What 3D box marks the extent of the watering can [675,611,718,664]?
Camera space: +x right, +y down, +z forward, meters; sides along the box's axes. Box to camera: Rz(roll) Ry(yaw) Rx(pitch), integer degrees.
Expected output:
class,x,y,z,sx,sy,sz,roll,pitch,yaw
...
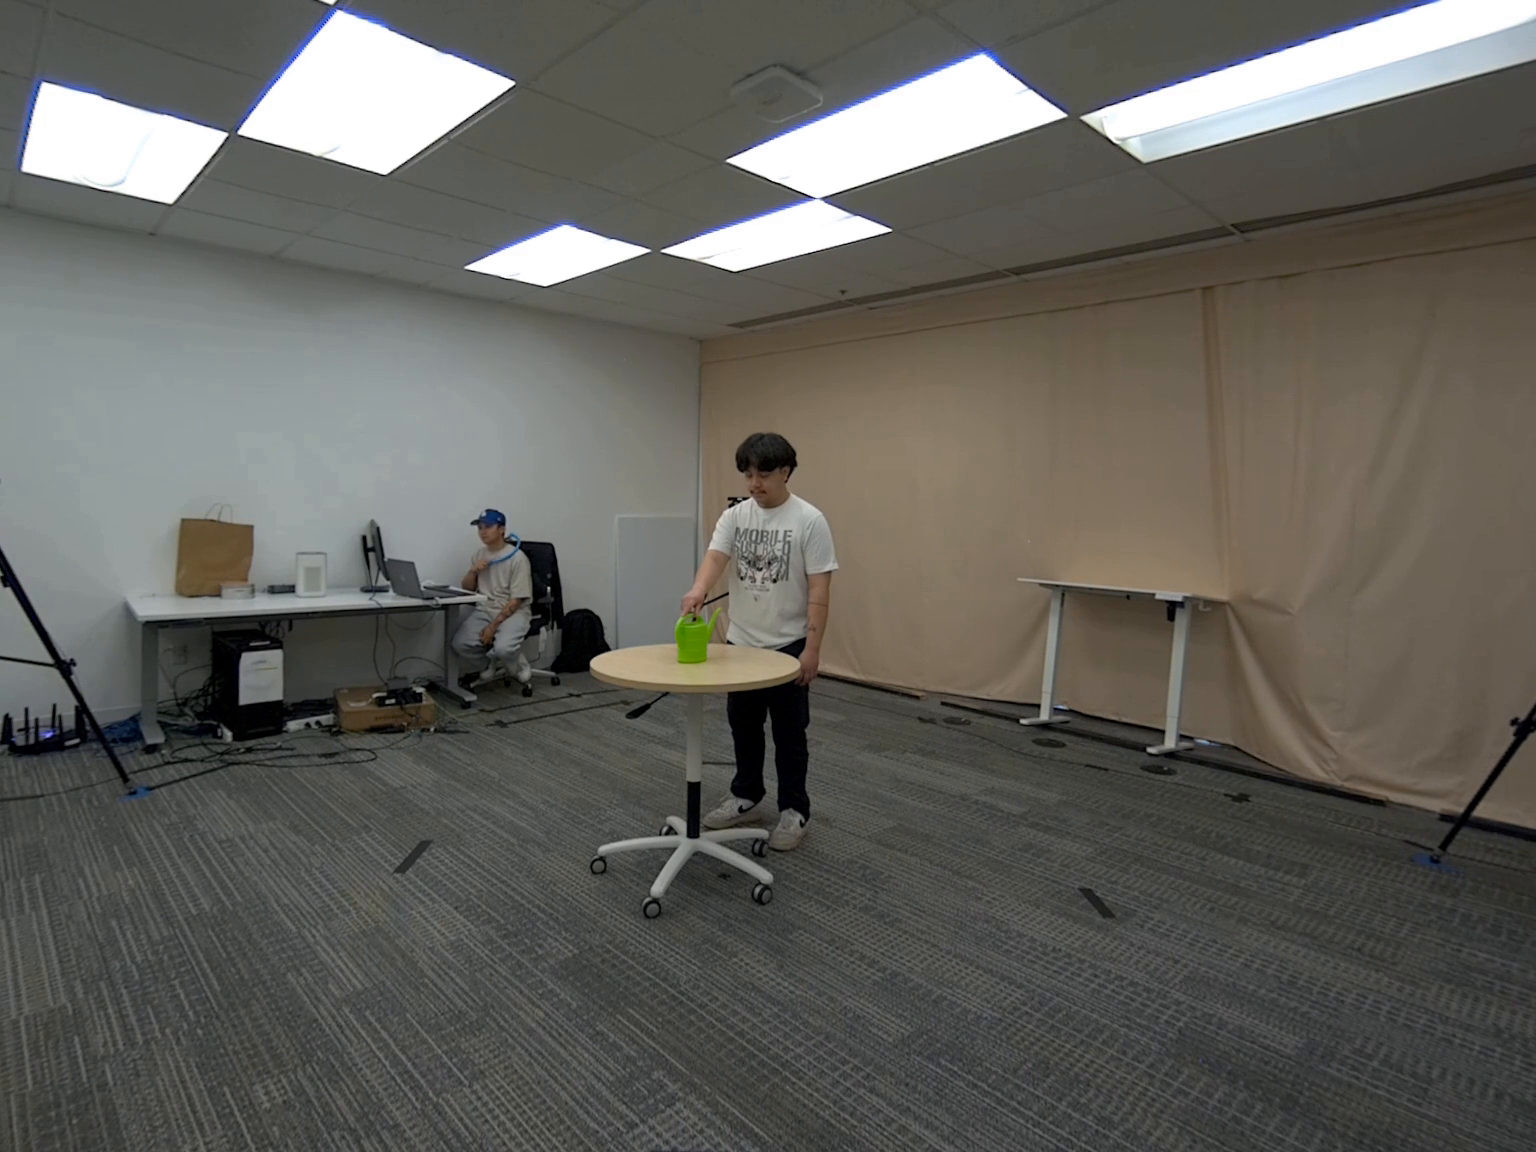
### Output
class,x,y,z,sx,sy,sz,roll,pitch,yaw
watering can,-0.264,0.222,3.118,0.100,0.176,0.272,4,8,40
